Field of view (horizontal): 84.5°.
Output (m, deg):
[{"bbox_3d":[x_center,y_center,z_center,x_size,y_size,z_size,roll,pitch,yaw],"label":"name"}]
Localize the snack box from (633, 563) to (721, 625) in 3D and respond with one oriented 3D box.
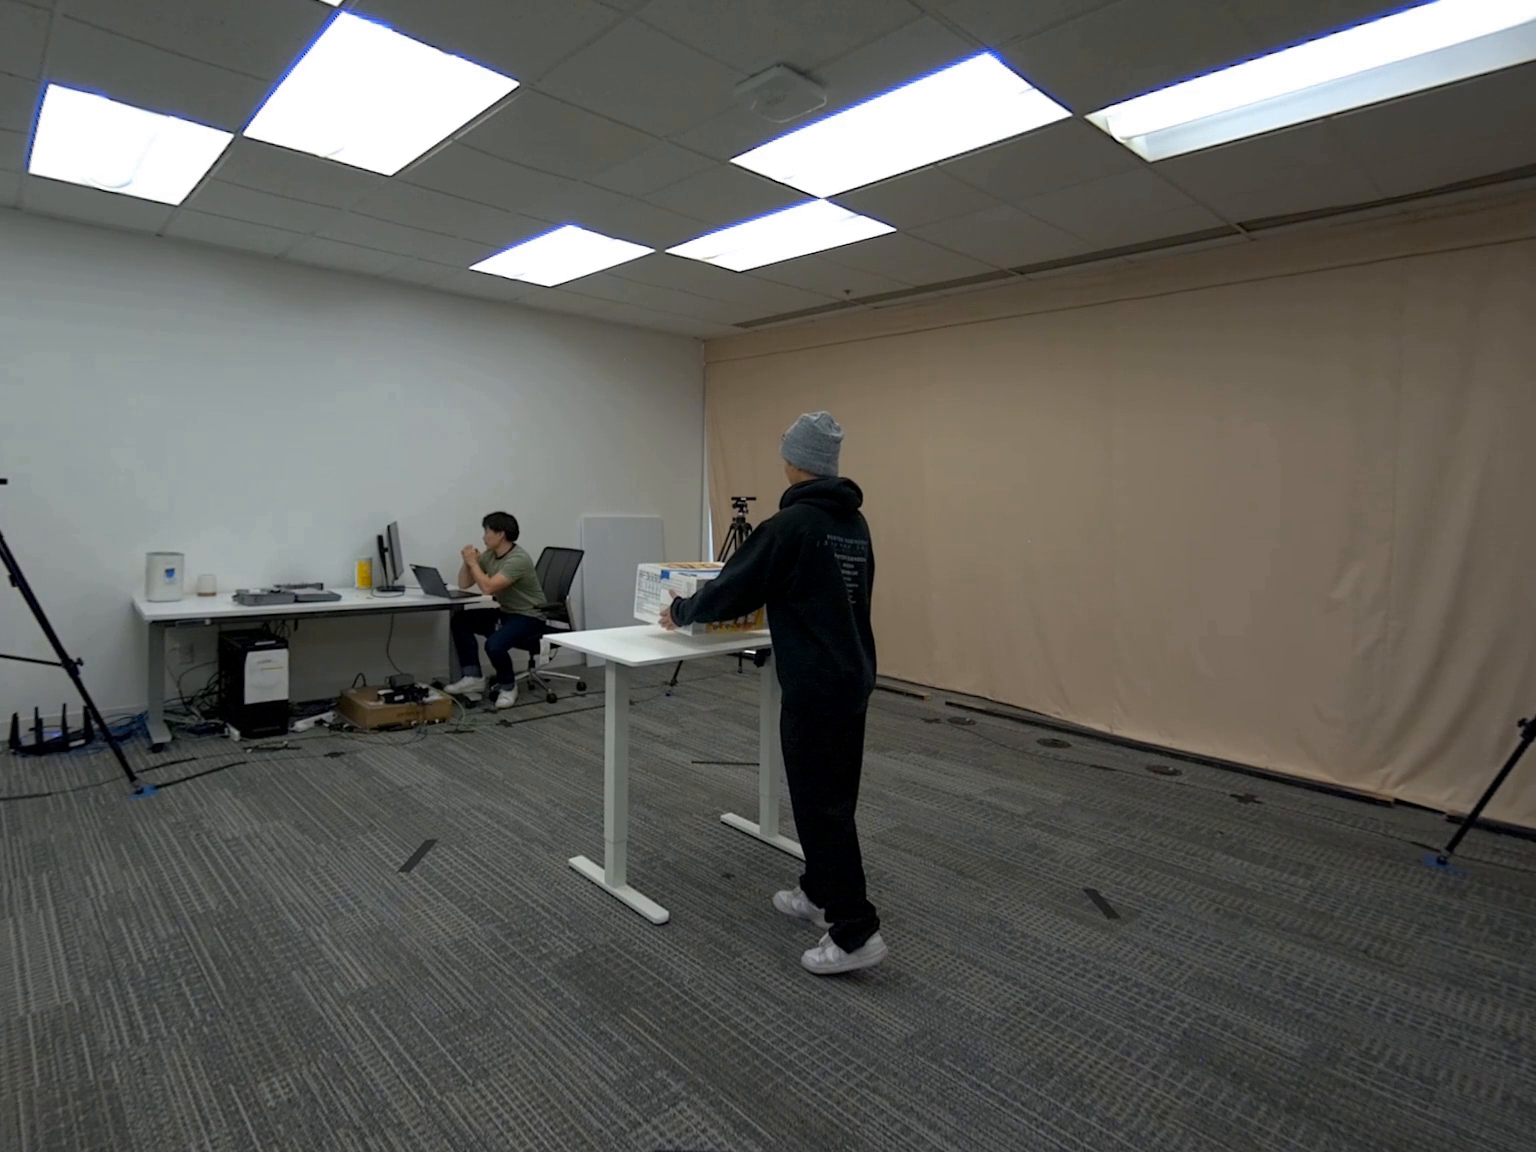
[{"bbox_3d":[-0.228,0.077,3.097,0.396,0.205,0.350,-3,10,-44],"label":"snack box"}]
